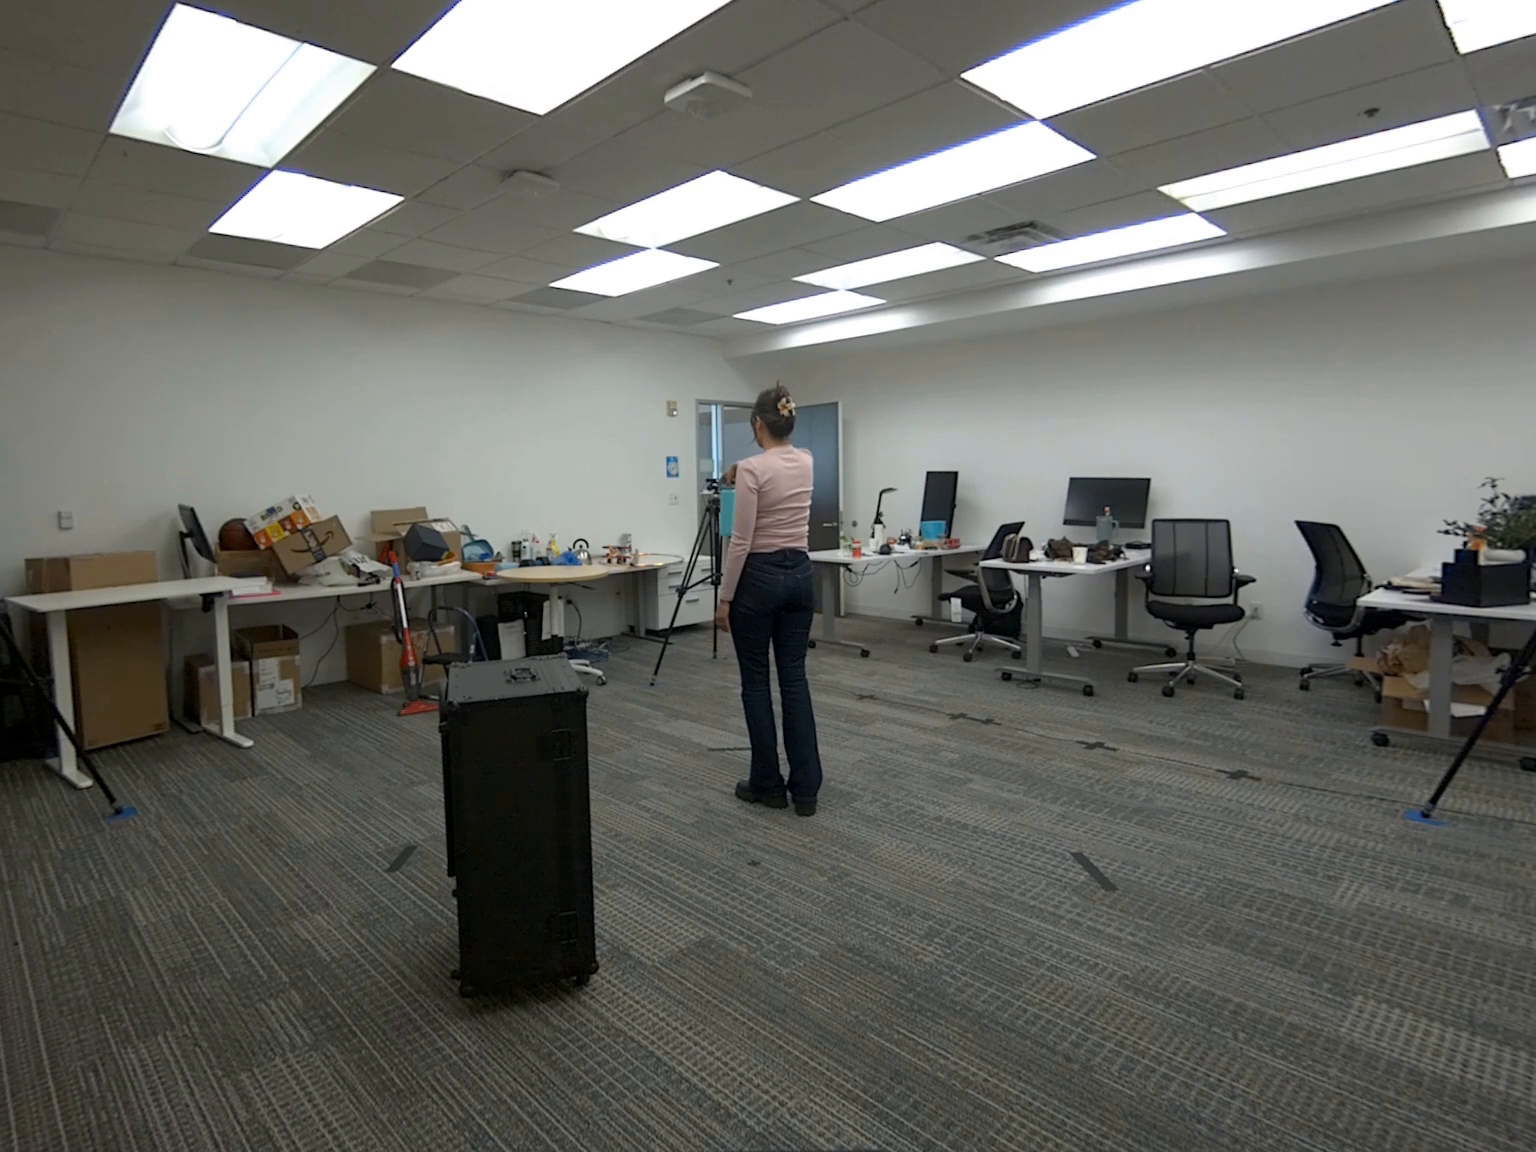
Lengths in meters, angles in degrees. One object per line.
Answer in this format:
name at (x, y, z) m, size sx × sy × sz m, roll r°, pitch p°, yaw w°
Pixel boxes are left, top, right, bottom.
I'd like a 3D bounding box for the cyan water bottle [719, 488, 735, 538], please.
cyan water bottle at (-0.189, -0.342, 4.229) m, size 0.092 × 0.283 × 0.092 m, roll -2°, pitch 2°, yaw -2°
